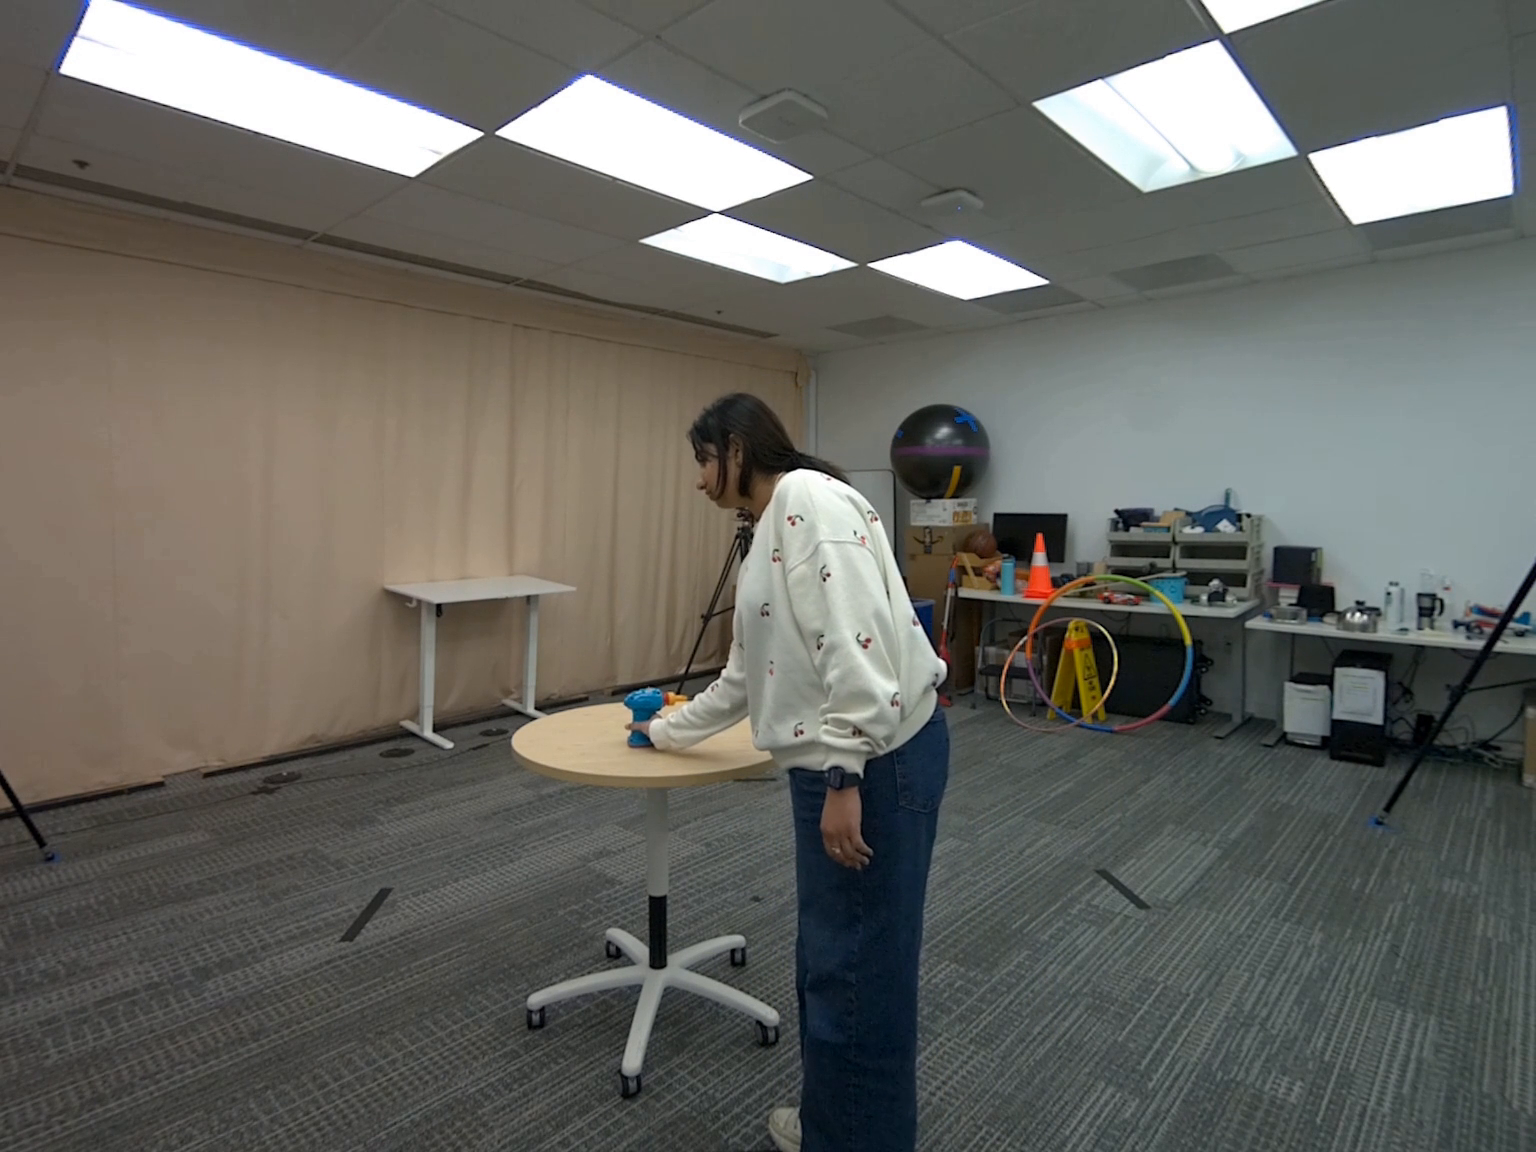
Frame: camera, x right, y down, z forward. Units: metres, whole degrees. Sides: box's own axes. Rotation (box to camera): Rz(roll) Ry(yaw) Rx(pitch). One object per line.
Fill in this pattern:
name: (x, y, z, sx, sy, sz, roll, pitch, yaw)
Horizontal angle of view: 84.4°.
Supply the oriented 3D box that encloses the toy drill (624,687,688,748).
toy drill: (-0.286, 0.360, 2.149, 0.166, 0.146, 0.062, 0, 2, -18)
